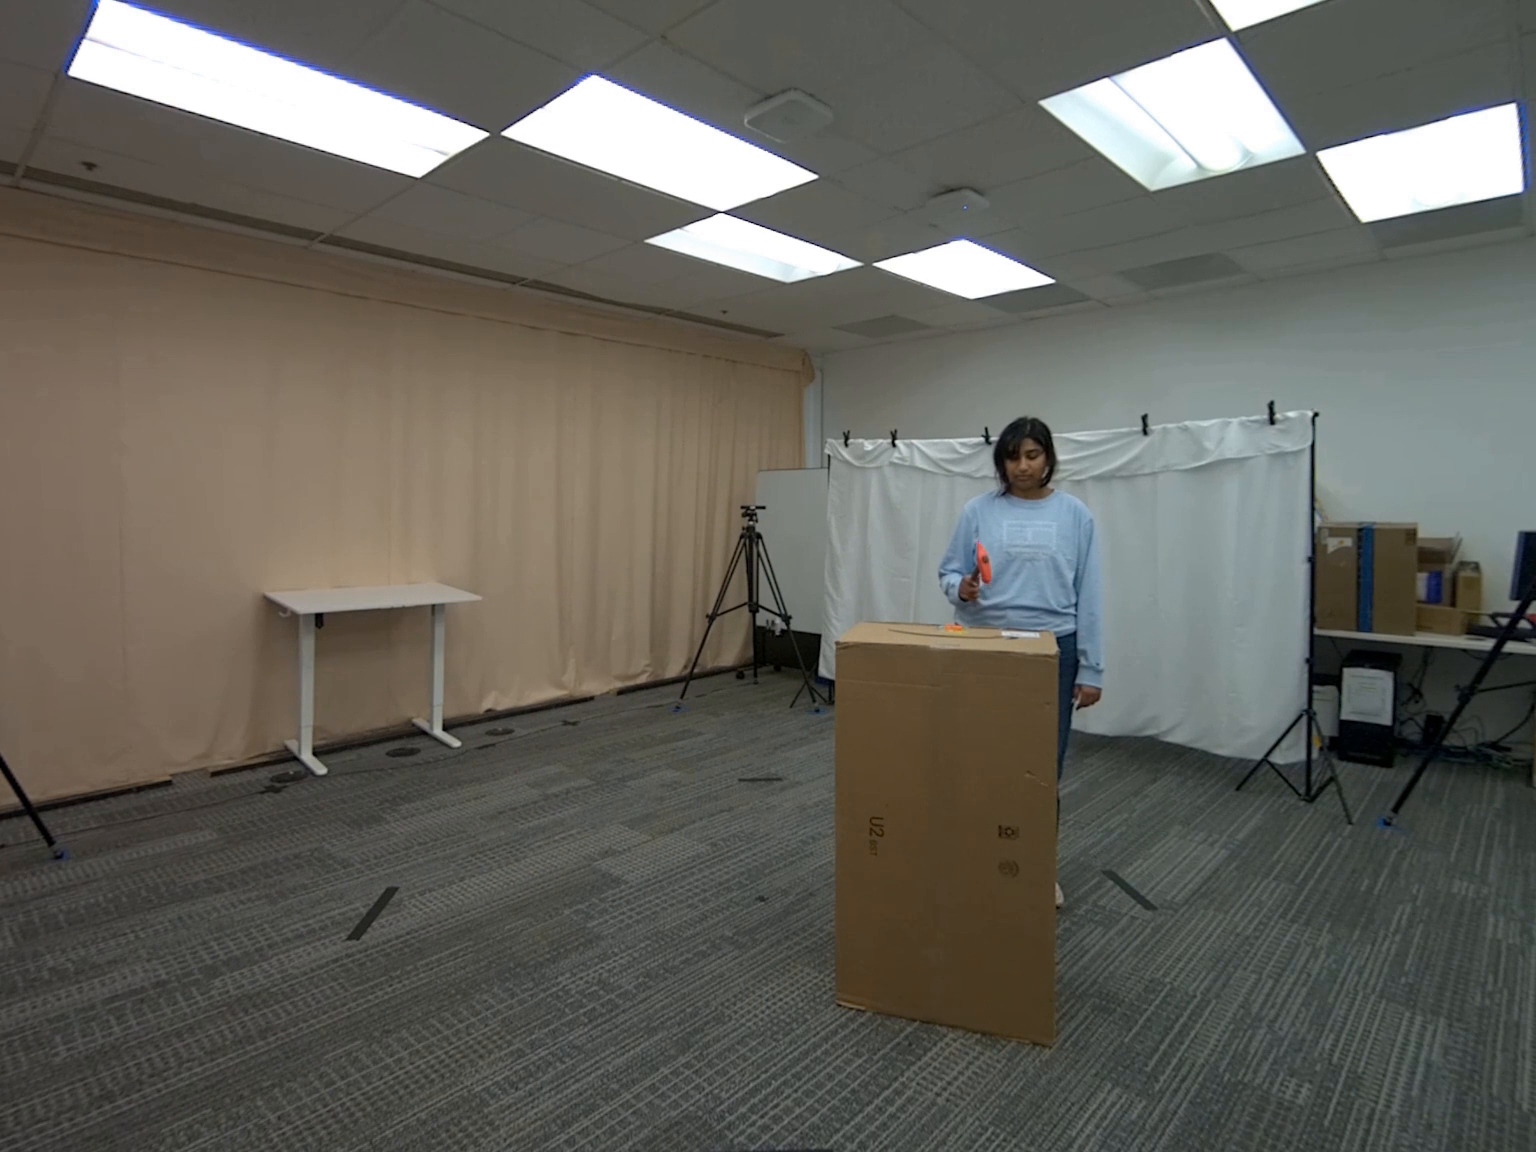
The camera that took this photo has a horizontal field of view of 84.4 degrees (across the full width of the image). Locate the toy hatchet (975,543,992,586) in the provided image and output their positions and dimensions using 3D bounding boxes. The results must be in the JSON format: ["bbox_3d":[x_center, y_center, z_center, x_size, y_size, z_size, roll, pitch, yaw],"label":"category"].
[{"bbox_3d":[0.690,0.018,2.700,0.029,0.134,0.265,-9,-39,-9],"label":"toy hatchet"}]
